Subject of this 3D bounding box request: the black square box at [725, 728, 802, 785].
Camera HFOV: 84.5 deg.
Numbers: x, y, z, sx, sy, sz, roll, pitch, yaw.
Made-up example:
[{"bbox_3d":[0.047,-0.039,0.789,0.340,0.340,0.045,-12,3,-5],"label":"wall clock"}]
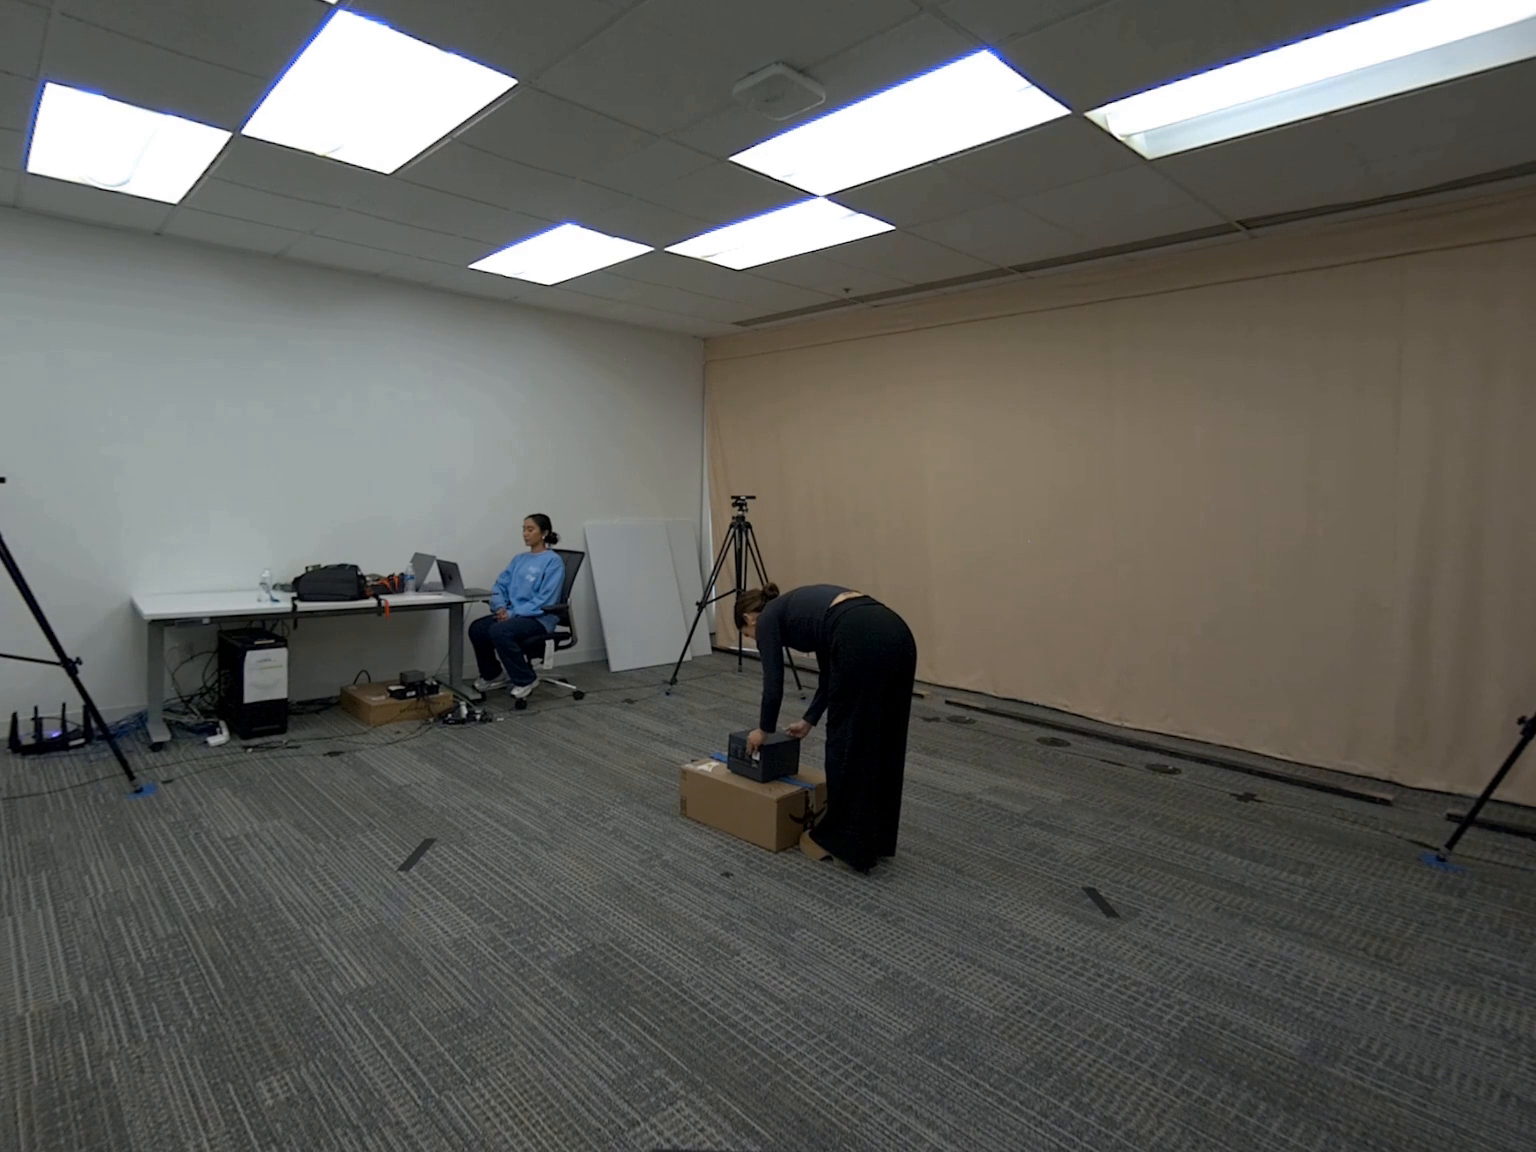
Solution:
[{"bbox_3d":[-0.020,0.761,3.614,0.222,0.156,0.222,6,4,44],"label":"black square box"}]
